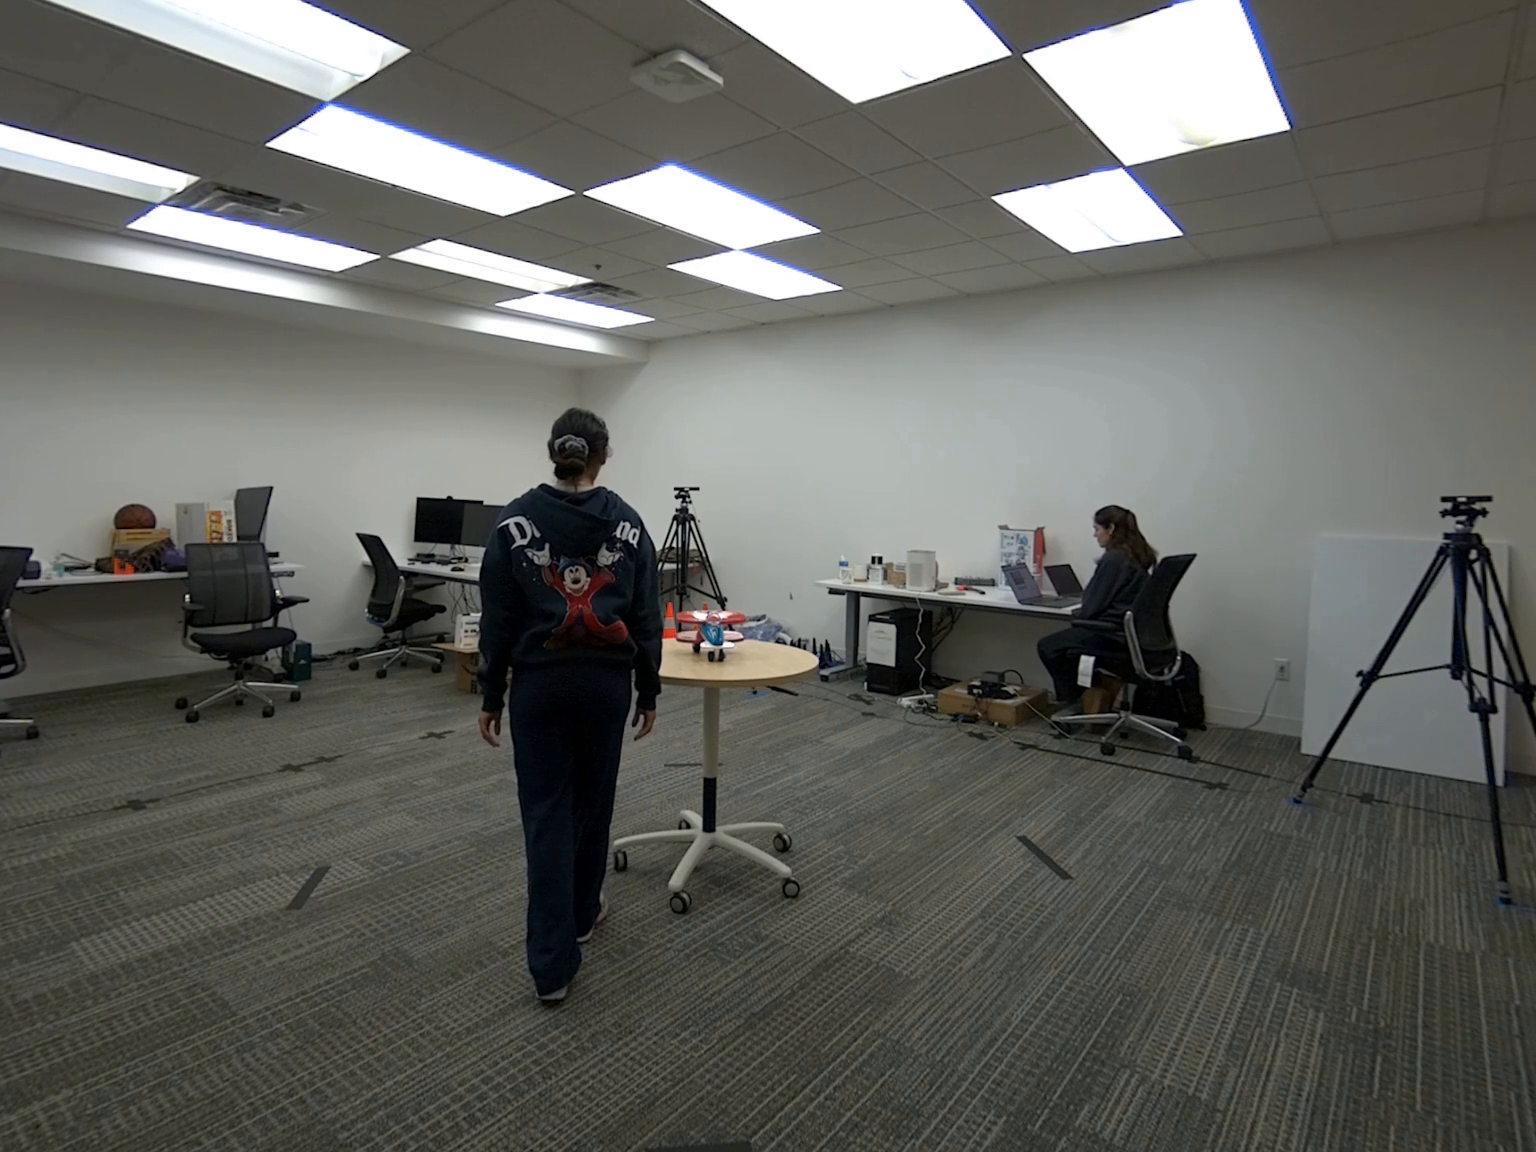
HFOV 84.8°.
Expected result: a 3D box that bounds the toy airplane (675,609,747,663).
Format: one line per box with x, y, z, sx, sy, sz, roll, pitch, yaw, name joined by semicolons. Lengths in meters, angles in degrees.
-0.196;0.214;3.080;0.244;0.156;0.268;-2;7;-36;toy airplane
